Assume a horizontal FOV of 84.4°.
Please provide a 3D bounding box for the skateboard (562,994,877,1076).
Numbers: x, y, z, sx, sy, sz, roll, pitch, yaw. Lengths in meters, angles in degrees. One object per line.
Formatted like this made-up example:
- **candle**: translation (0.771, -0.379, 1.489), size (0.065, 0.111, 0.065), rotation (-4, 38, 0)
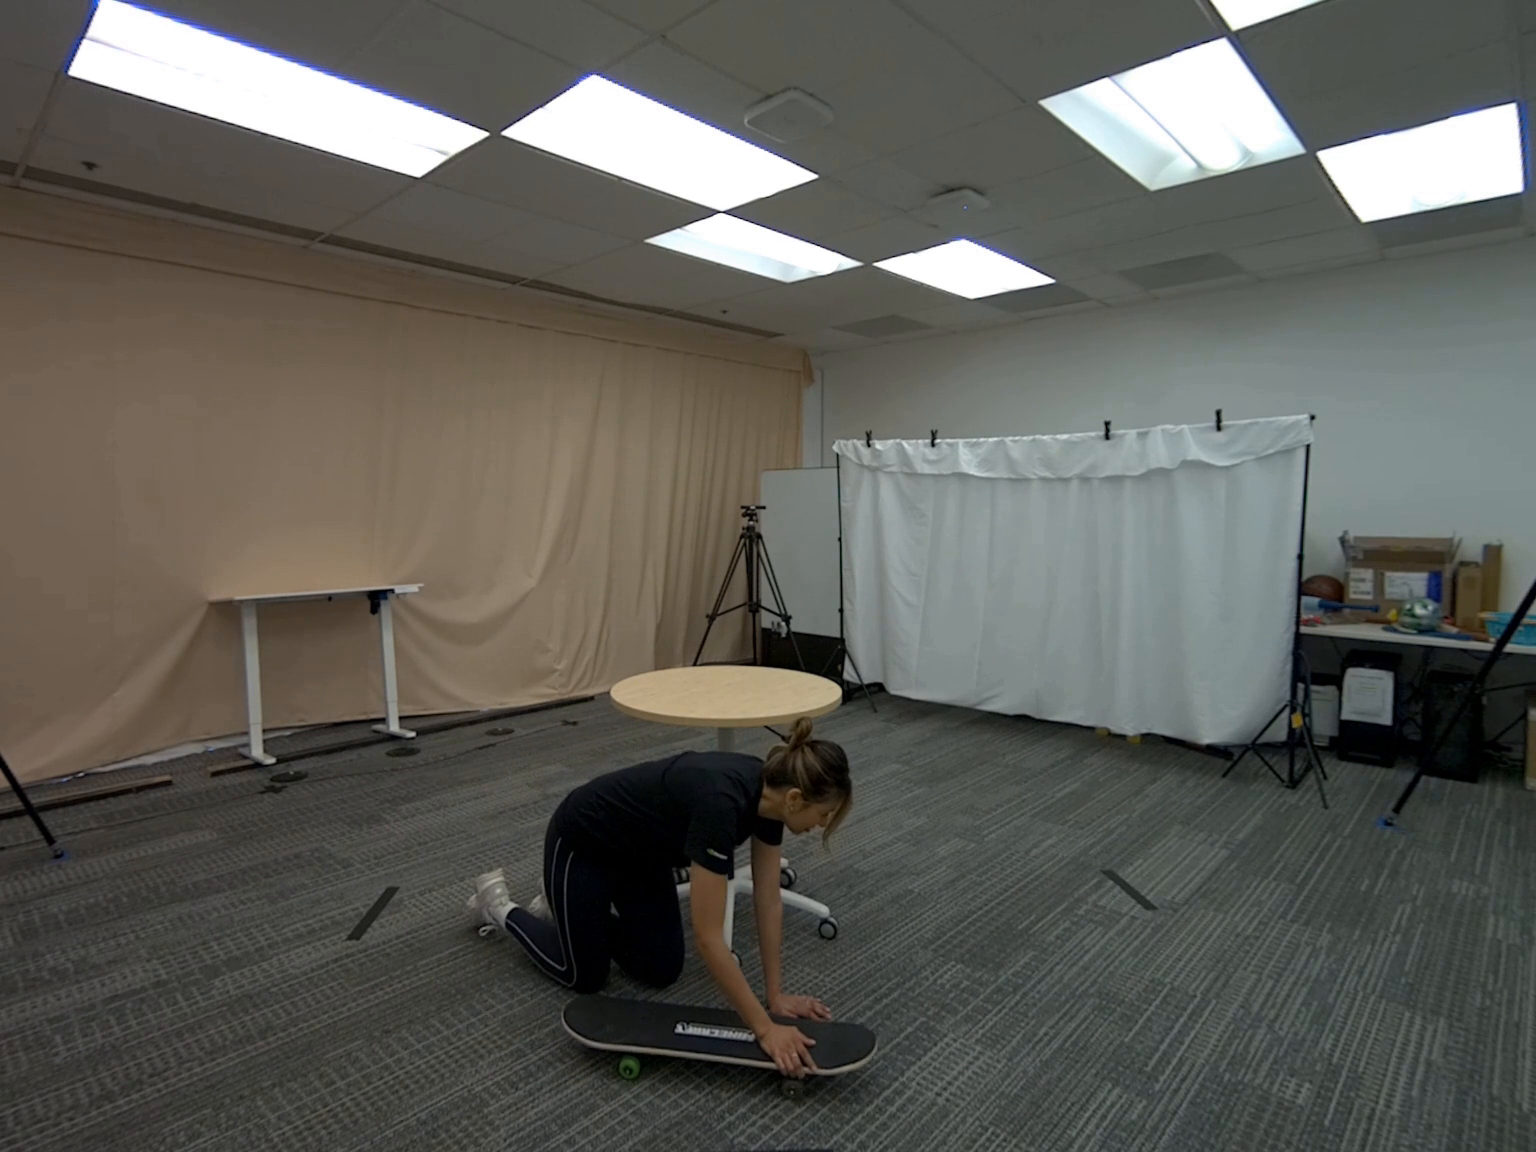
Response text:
- **skateboard**: translation (-0.126, 1.163, 2.088), size (0.795, 0.110, 0.191), rotation (1, 4, 11)
